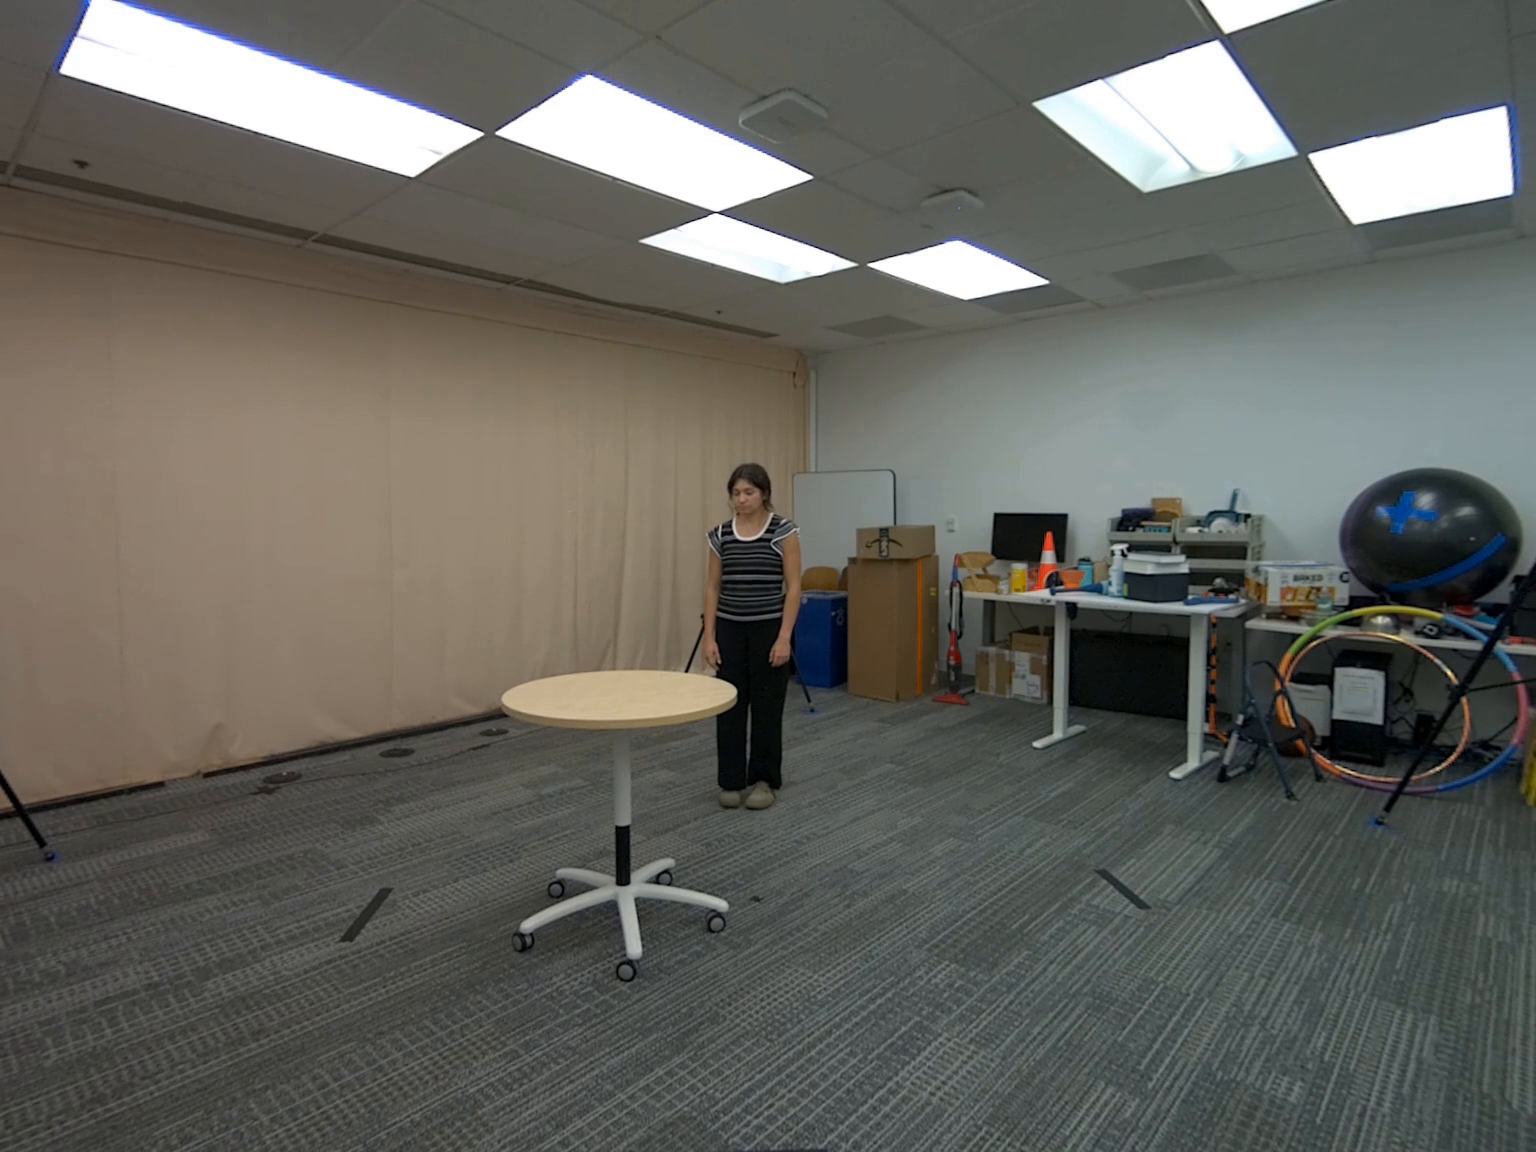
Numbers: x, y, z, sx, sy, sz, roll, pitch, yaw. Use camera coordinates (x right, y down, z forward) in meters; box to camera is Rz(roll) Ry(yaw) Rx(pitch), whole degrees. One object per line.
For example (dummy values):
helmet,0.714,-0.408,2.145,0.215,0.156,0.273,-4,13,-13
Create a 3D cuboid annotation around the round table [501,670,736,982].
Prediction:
round table,-0.485,0.778,2.783,0.763,0.792,0.766,-1,3,-2
